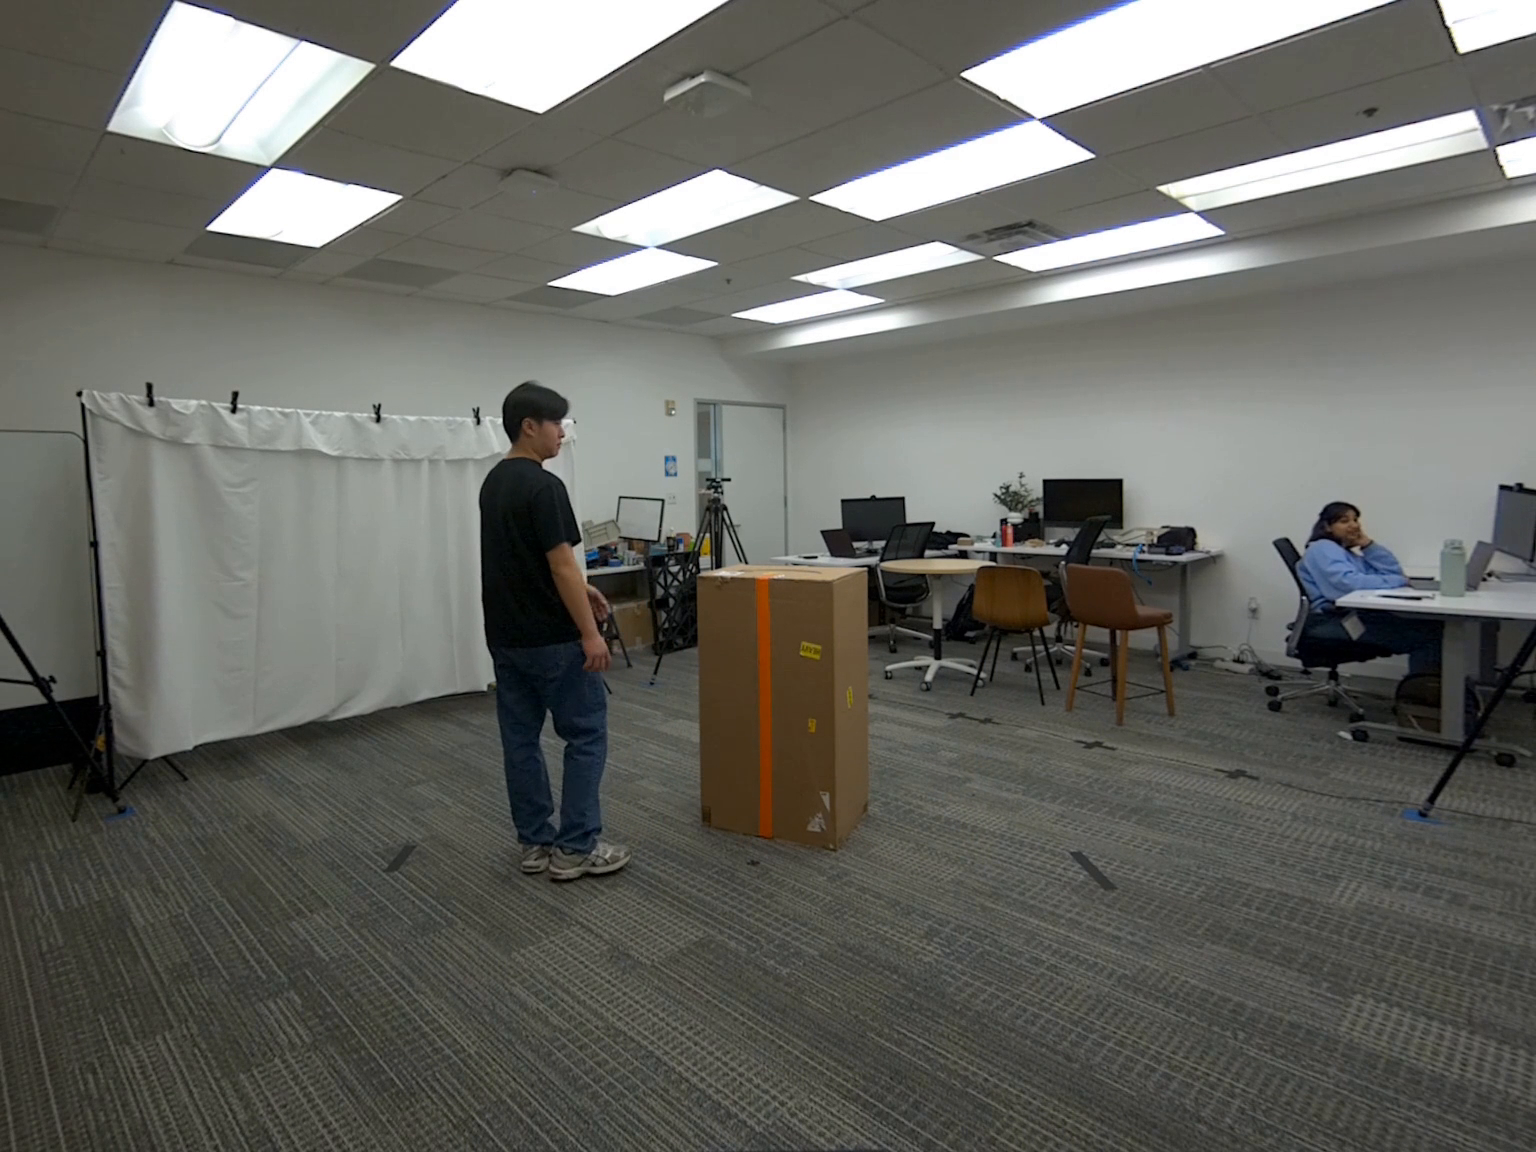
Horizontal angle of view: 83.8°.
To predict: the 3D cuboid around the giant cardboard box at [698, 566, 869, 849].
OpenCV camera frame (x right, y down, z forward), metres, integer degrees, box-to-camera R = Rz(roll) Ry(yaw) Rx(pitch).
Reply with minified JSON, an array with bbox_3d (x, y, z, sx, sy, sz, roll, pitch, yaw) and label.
[{"bbox_3d":[0.072,0.486,3.474,0.598,1.022,0.438,2,6,27],"label":"giant cardboard box"}]
